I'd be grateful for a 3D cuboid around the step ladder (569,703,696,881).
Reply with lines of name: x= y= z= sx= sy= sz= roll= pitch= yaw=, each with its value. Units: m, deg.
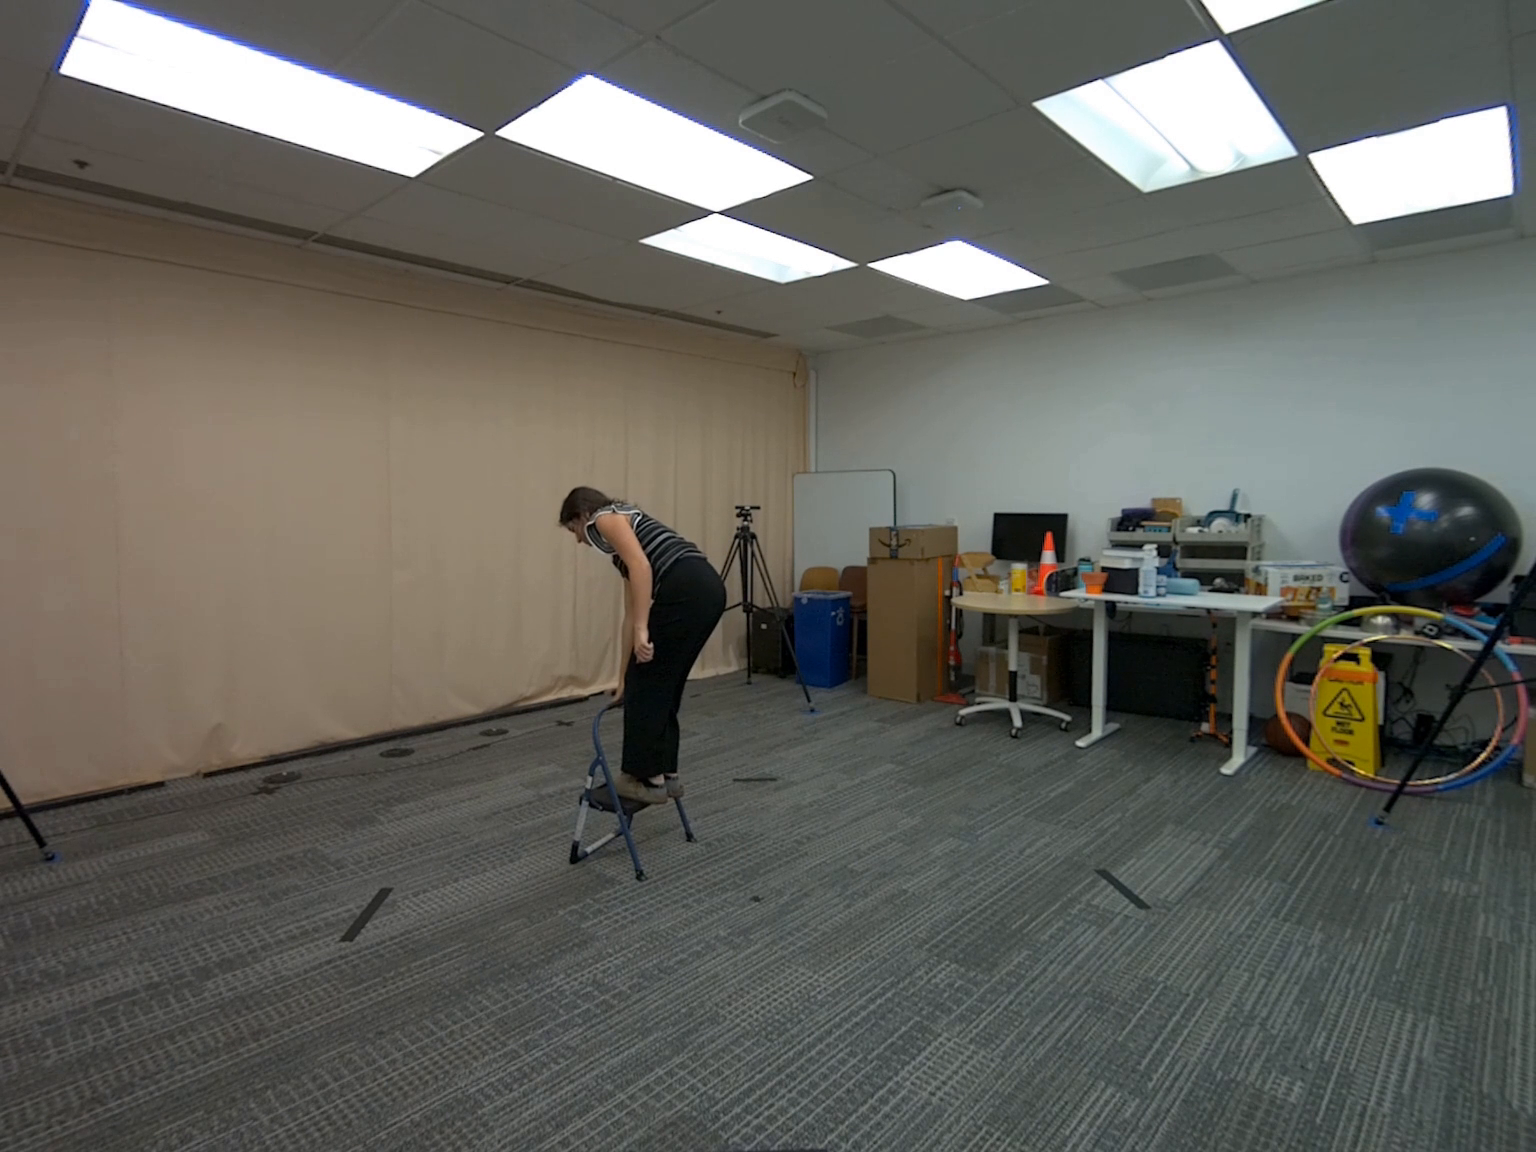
step ladder: x=-0.541 y=0.814 z=3.387 sx=0.358 sy=0.605 sz=0.421 roll=1 pitch=3 yaw=24
